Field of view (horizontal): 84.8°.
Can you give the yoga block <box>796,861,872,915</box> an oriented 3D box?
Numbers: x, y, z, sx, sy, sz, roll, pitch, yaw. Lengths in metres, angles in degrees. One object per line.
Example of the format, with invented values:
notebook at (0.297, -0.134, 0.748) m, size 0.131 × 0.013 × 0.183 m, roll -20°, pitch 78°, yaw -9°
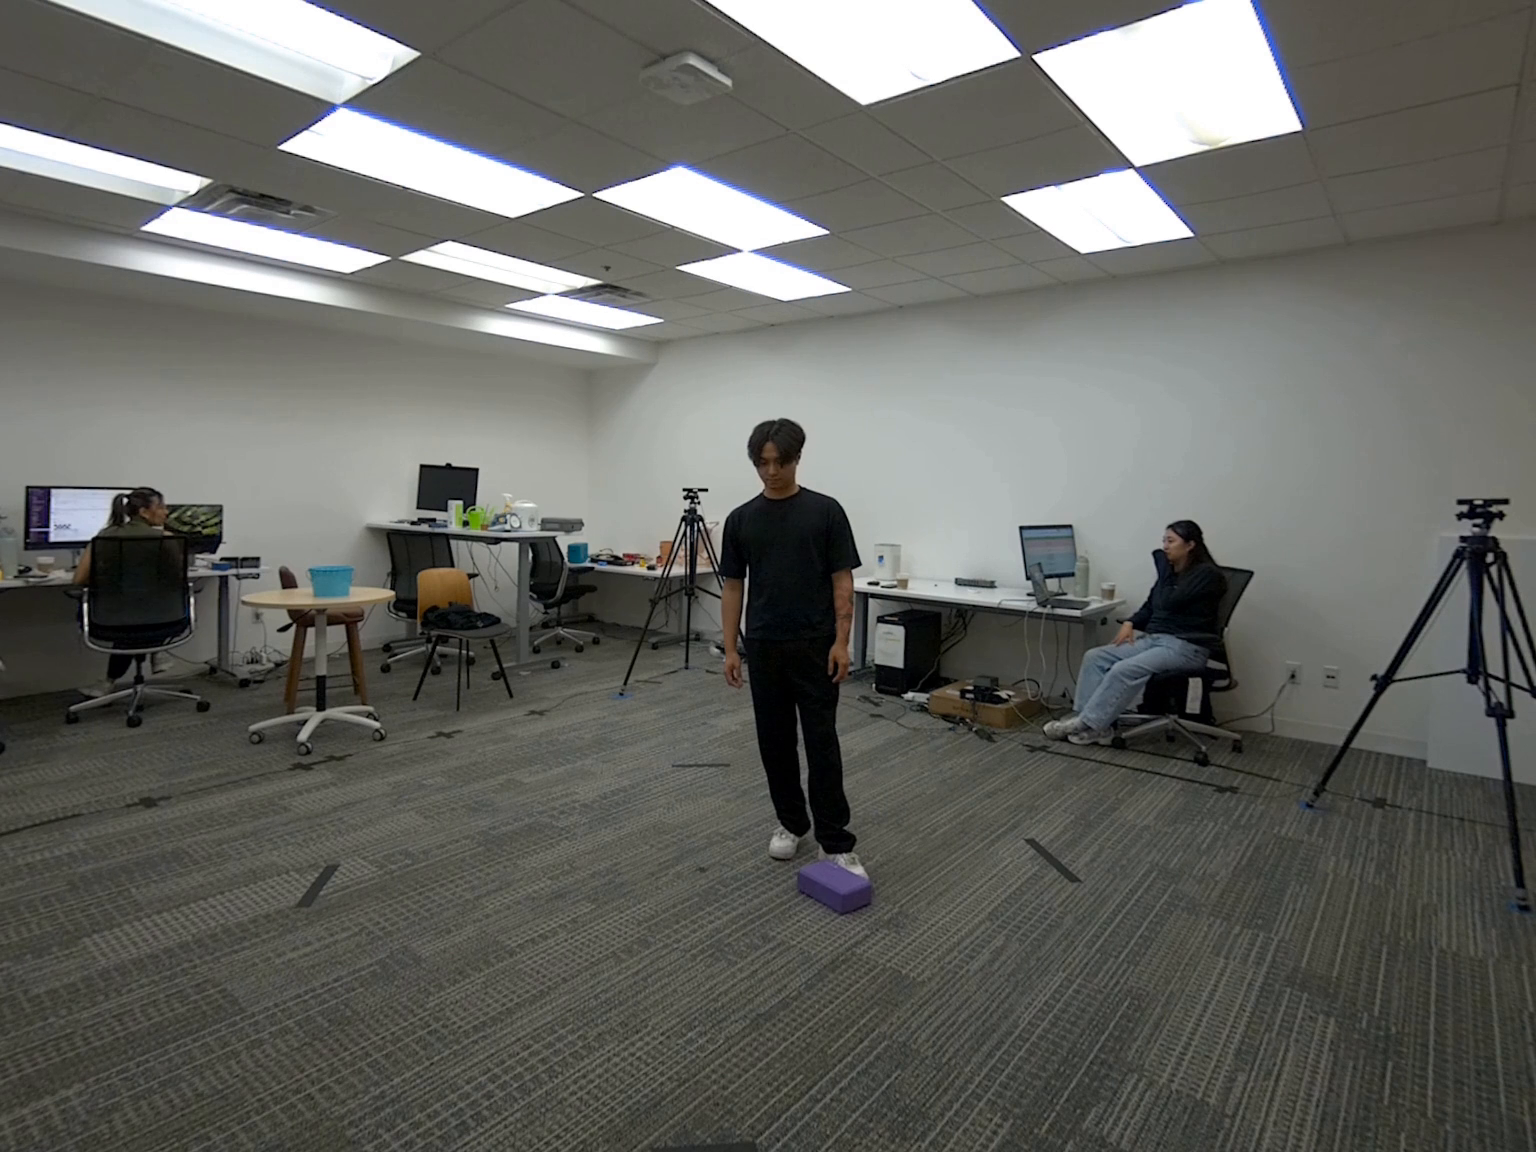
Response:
yoga block at (0.223, 1.055, 2.920) m, size 0.145 × 0.076 × 0.237 m, roll -5°, pitch 8°, yaw -39°
